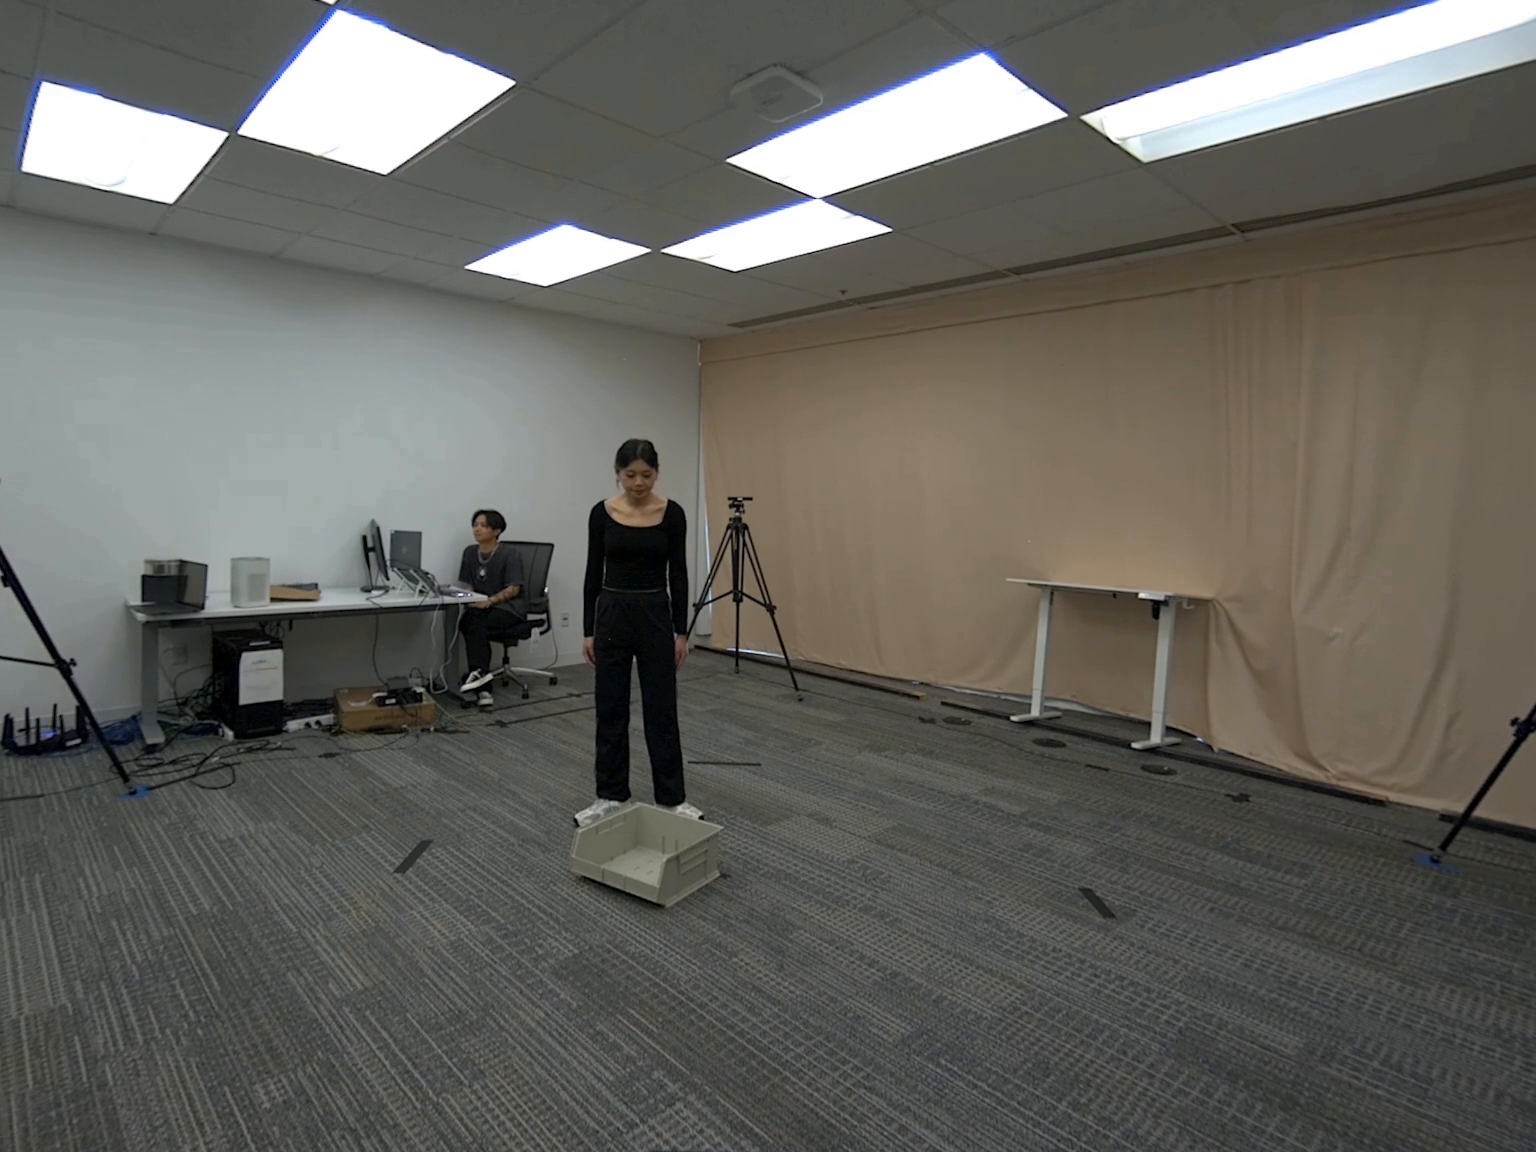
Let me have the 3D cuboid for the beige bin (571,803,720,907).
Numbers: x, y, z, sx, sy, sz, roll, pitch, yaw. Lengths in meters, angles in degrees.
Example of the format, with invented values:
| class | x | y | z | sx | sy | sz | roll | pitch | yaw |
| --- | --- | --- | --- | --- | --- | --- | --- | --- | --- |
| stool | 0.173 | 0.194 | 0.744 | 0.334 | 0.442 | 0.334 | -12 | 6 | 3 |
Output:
| class | x | y | z | sx | sy | sz | roll | pitch | yaw |
| --- | --- | --- | --- | --- | --- | --- | --- | --- | --- |
| beige bin | -0.445 | 1.017 | 3.074 | 0.432 | 0.188 | 0.369 | 4 | 4 | 33 |
